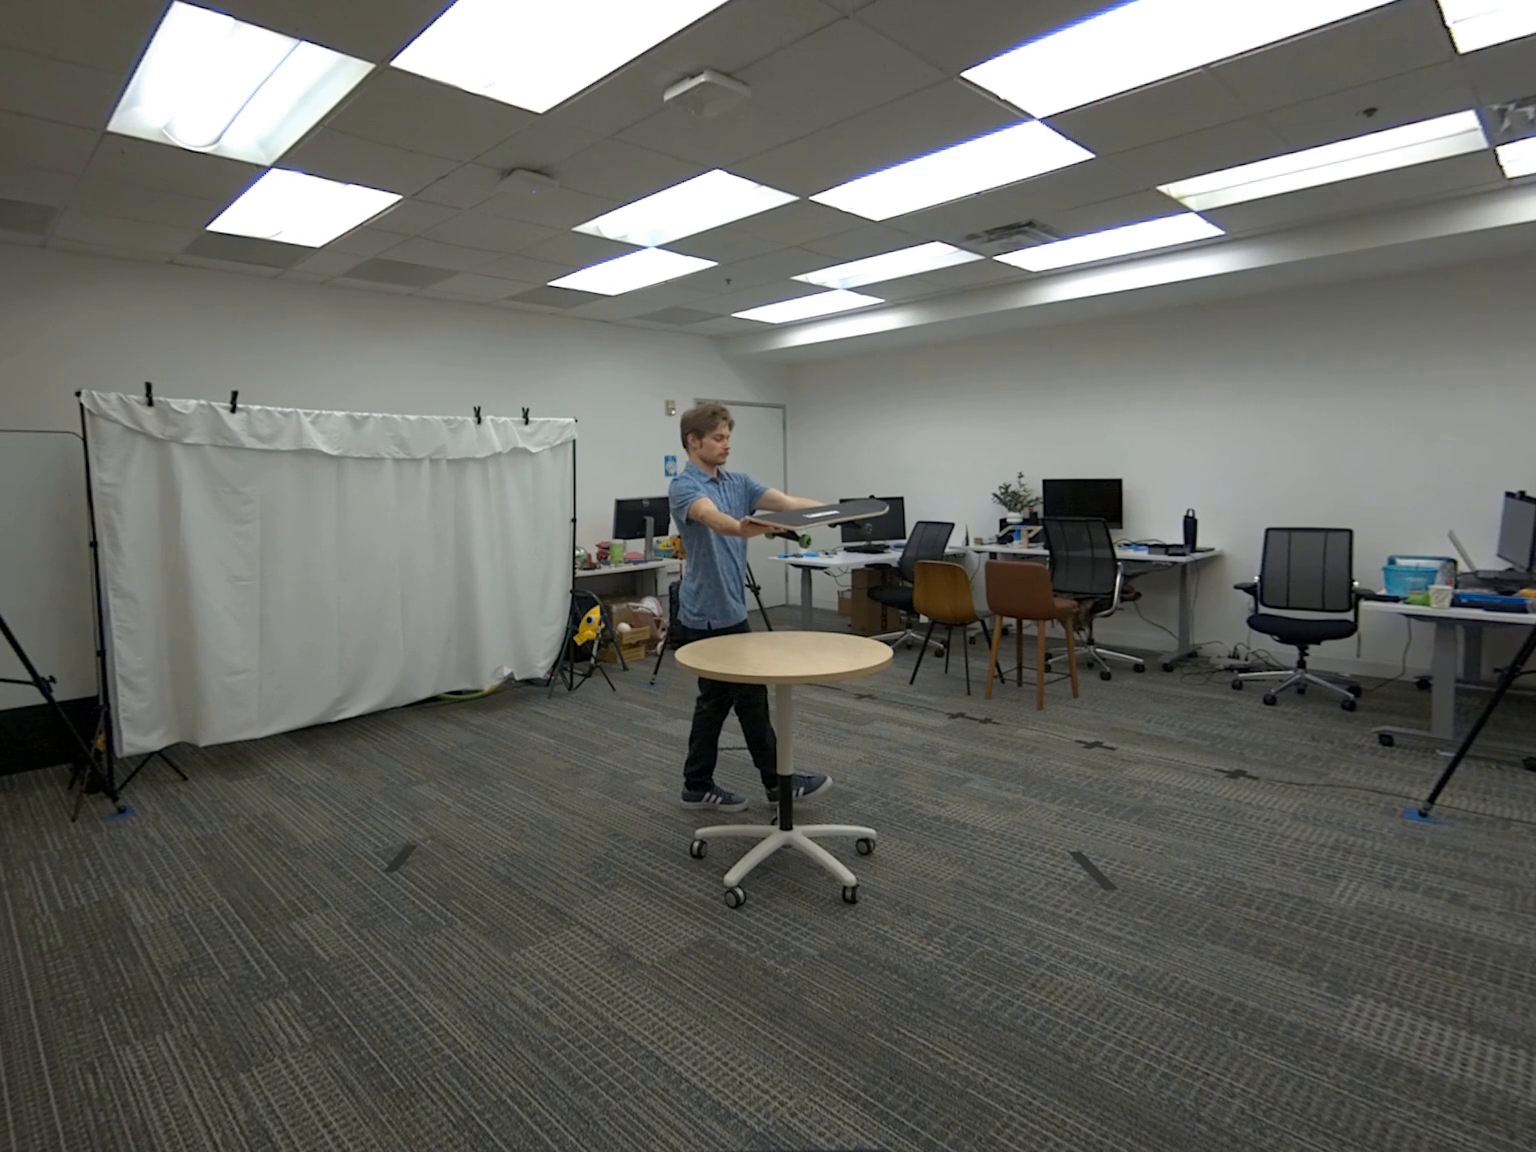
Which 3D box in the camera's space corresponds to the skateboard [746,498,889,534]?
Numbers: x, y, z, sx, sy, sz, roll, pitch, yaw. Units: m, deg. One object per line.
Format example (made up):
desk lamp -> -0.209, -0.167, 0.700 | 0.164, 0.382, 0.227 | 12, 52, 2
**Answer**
skateboard -> 0.194, -0.197, 3.183 | 0.200, 0.109, 0.767 | 17, 19, 38
